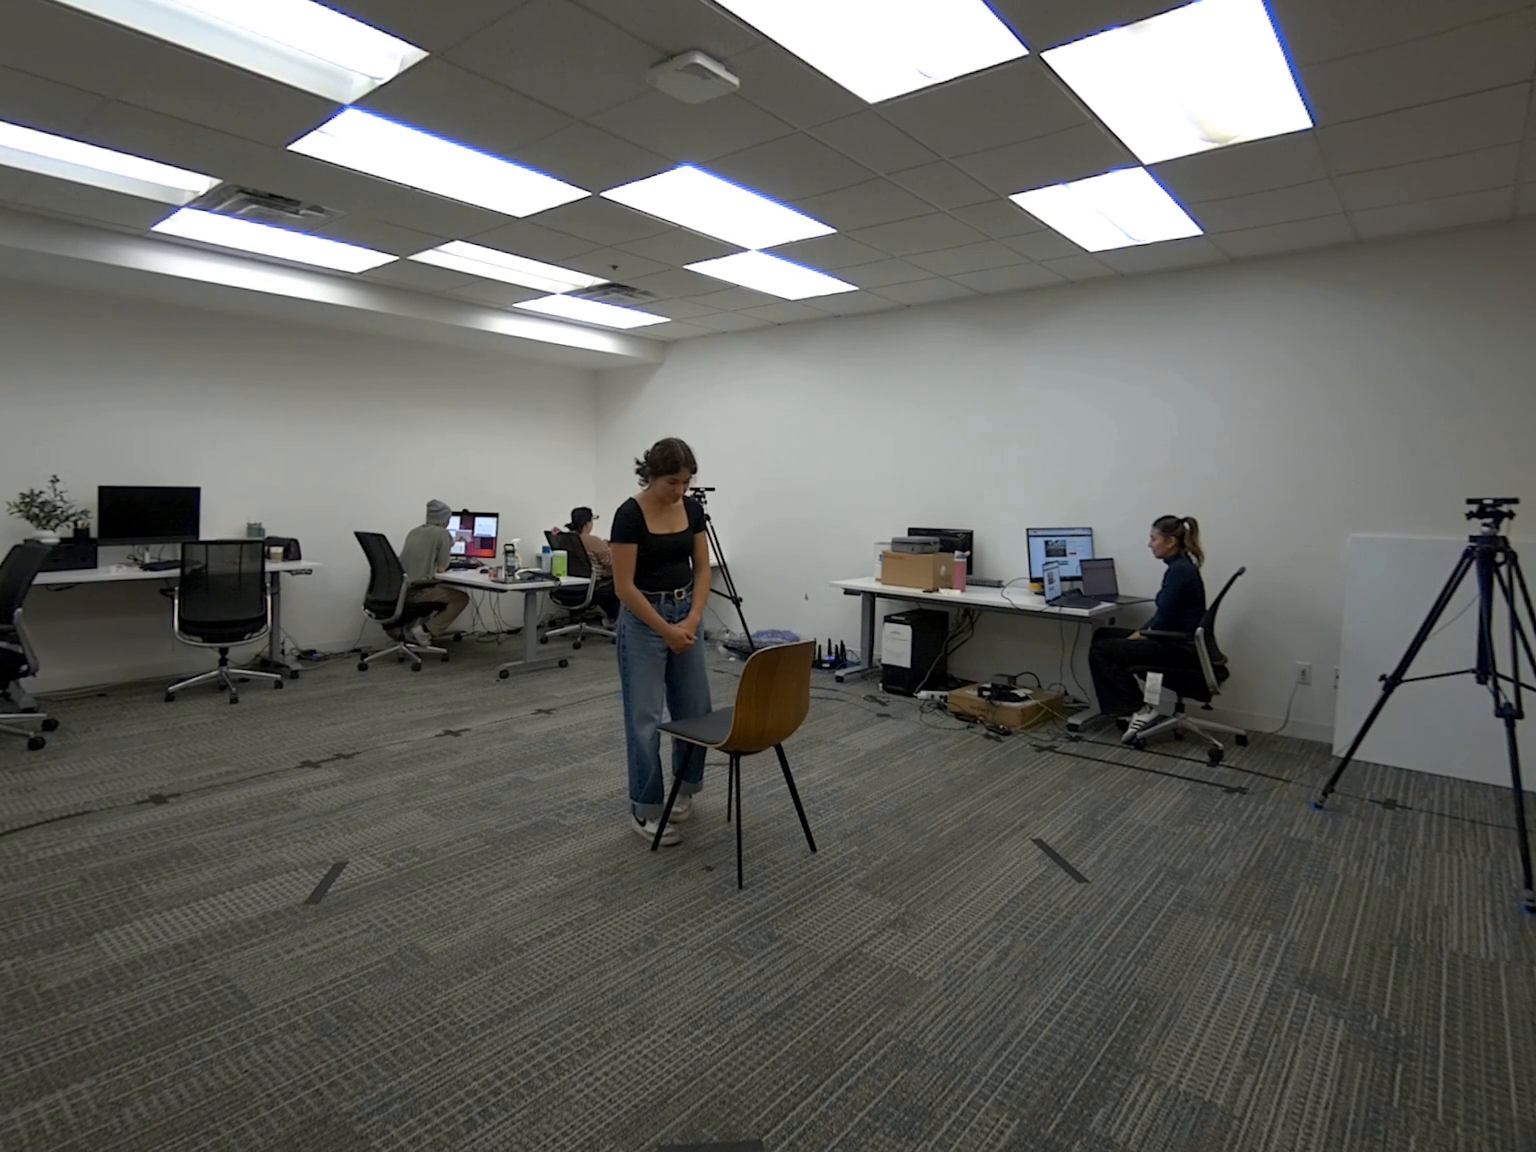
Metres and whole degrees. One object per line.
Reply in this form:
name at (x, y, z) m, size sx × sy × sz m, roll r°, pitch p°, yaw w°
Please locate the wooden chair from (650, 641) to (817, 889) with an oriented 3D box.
wooden chair at (-0.130, 0.631, 3.237) m, size 0.542 × 0.873 × 0.464 m, roll 9°, pitch 8°, yaw 40°
